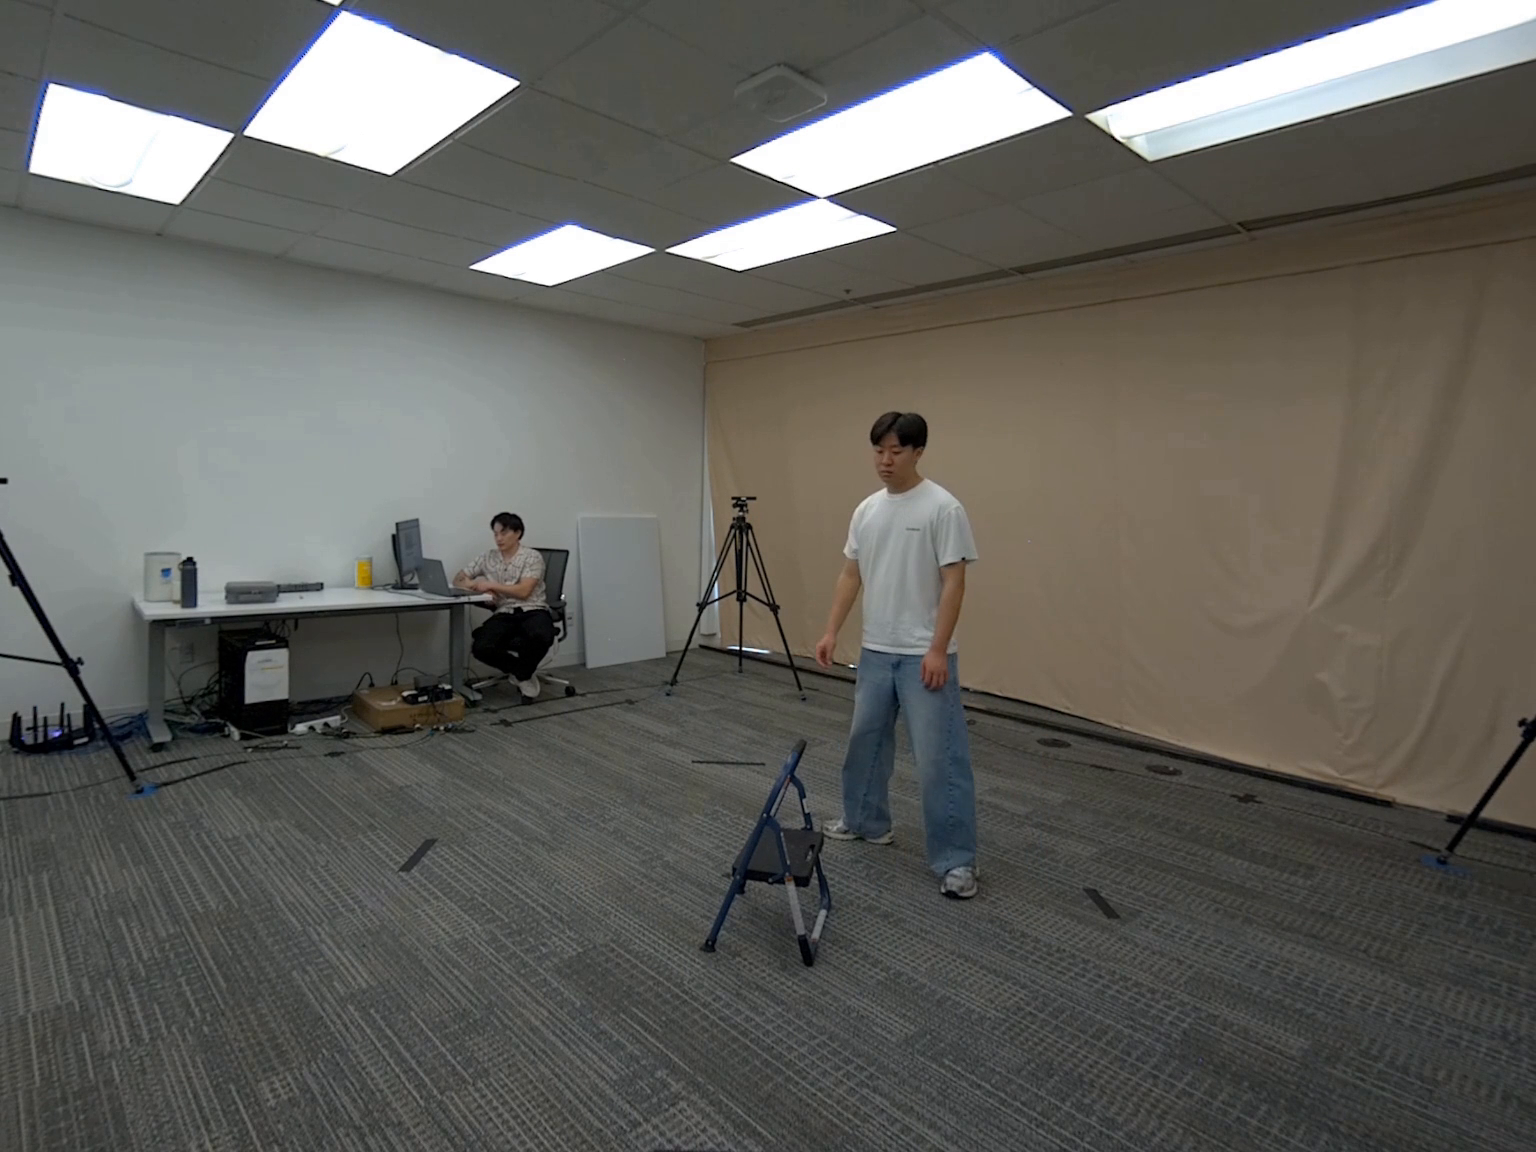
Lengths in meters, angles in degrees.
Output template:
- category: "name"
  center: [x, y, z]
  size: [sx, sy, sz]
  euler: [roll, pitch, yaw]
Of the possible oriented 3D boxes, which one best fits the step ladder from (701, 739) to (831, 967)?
- category: "step ladder"
  center: [0.013, 0.841, 2.724]
  size: [0.353, 0.604, 0.427]
  euler: [2, 4, 12]
